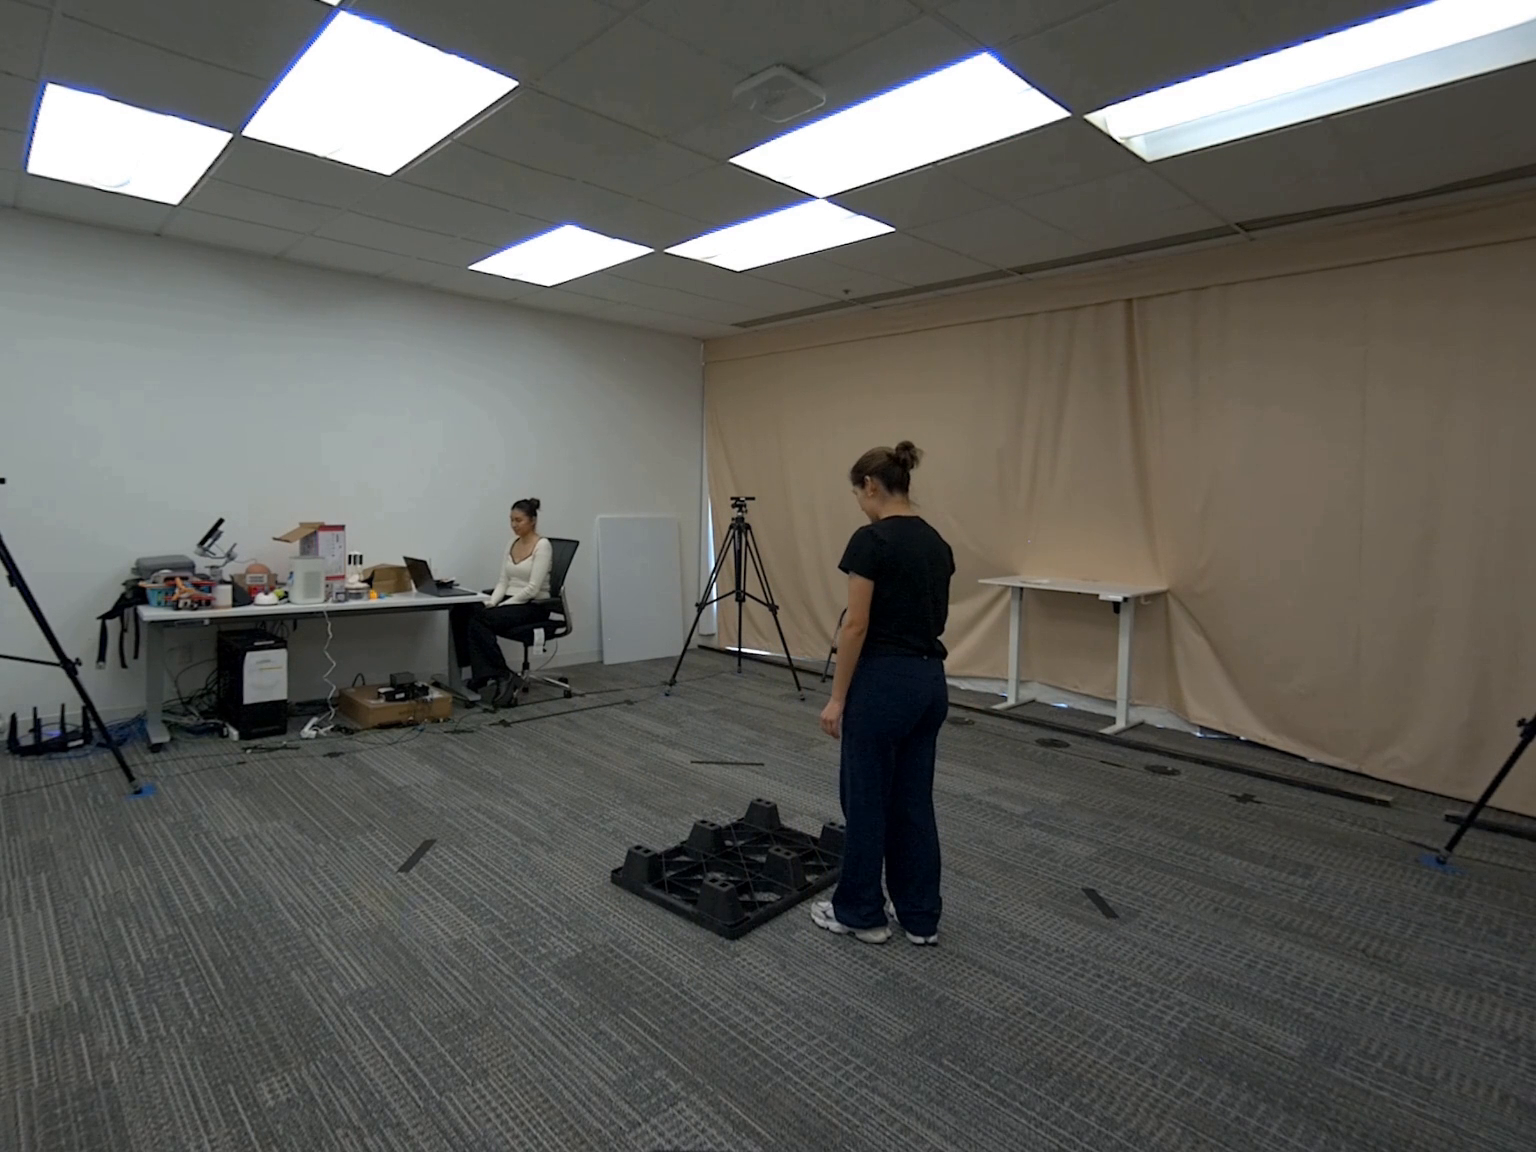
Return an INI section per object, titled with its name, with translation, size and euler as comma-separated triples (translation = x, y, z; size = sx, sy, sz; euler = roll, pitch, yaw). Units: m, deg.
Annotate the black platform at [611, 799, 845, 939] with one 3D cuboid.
[black platform]
translation = -0.094, 1.041, 3.110
size = 0.620, 0.143, 0.788
euler = 5, 6, 40
